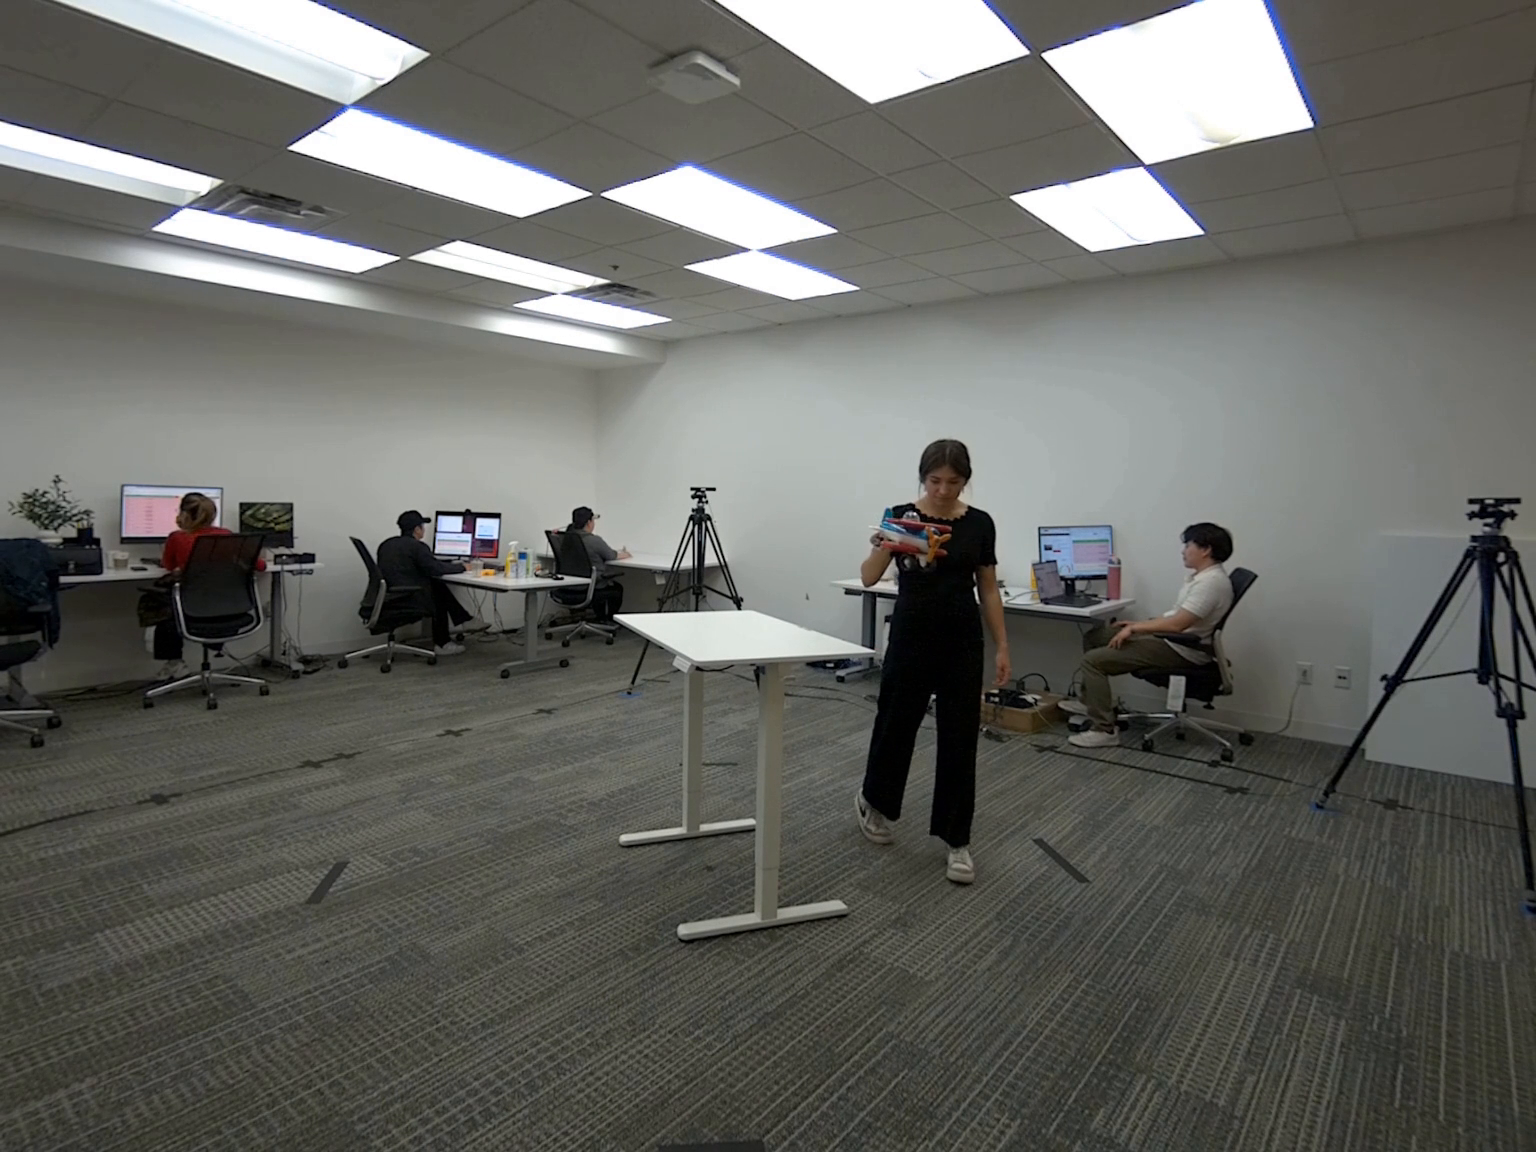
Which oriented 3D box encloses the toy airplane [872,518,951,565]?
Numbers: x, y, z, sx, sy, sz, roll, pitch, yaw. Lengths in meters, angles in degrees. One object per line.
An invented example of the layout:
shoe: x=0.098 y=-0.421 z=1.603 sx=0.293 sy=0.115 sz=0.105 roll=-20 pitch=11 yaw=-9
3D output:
toy airplane: x=0.429 y=-0.124 z=2.741 sx=0.267 sy=0.155 sz=0.246 roll=28 pitch=21 yaw=23
